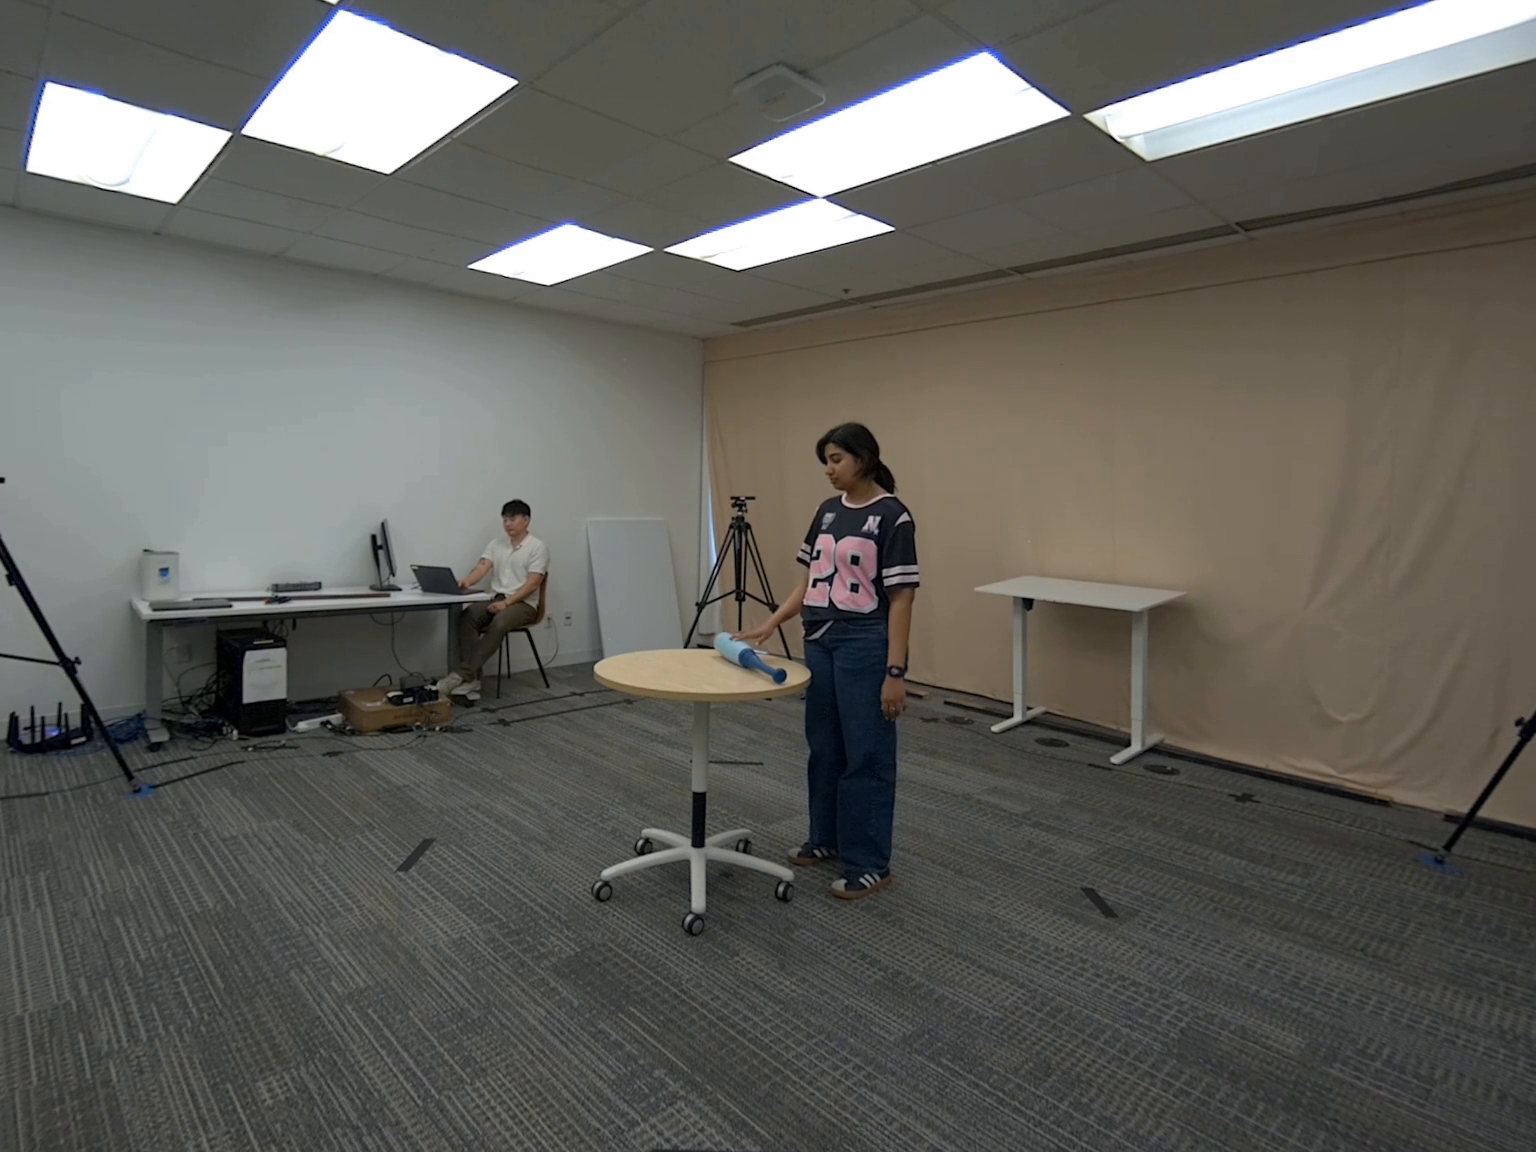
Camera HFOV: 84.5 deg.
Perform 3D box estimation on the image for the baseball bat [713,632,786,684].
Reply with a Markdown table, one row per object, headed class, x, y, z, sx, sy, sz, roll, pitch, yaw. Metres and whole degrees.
| class | x | y | z | sx | sy | sz | roll | pitch | yaw |
| --- | --- | --- | --- | --- | --- | --- | --- | --- | --- |
| baseball bat | -0.067 | 0.300 | 2.995 | 0.087 | 0.088 | 0.554 | 0 | 9 | -22 |
